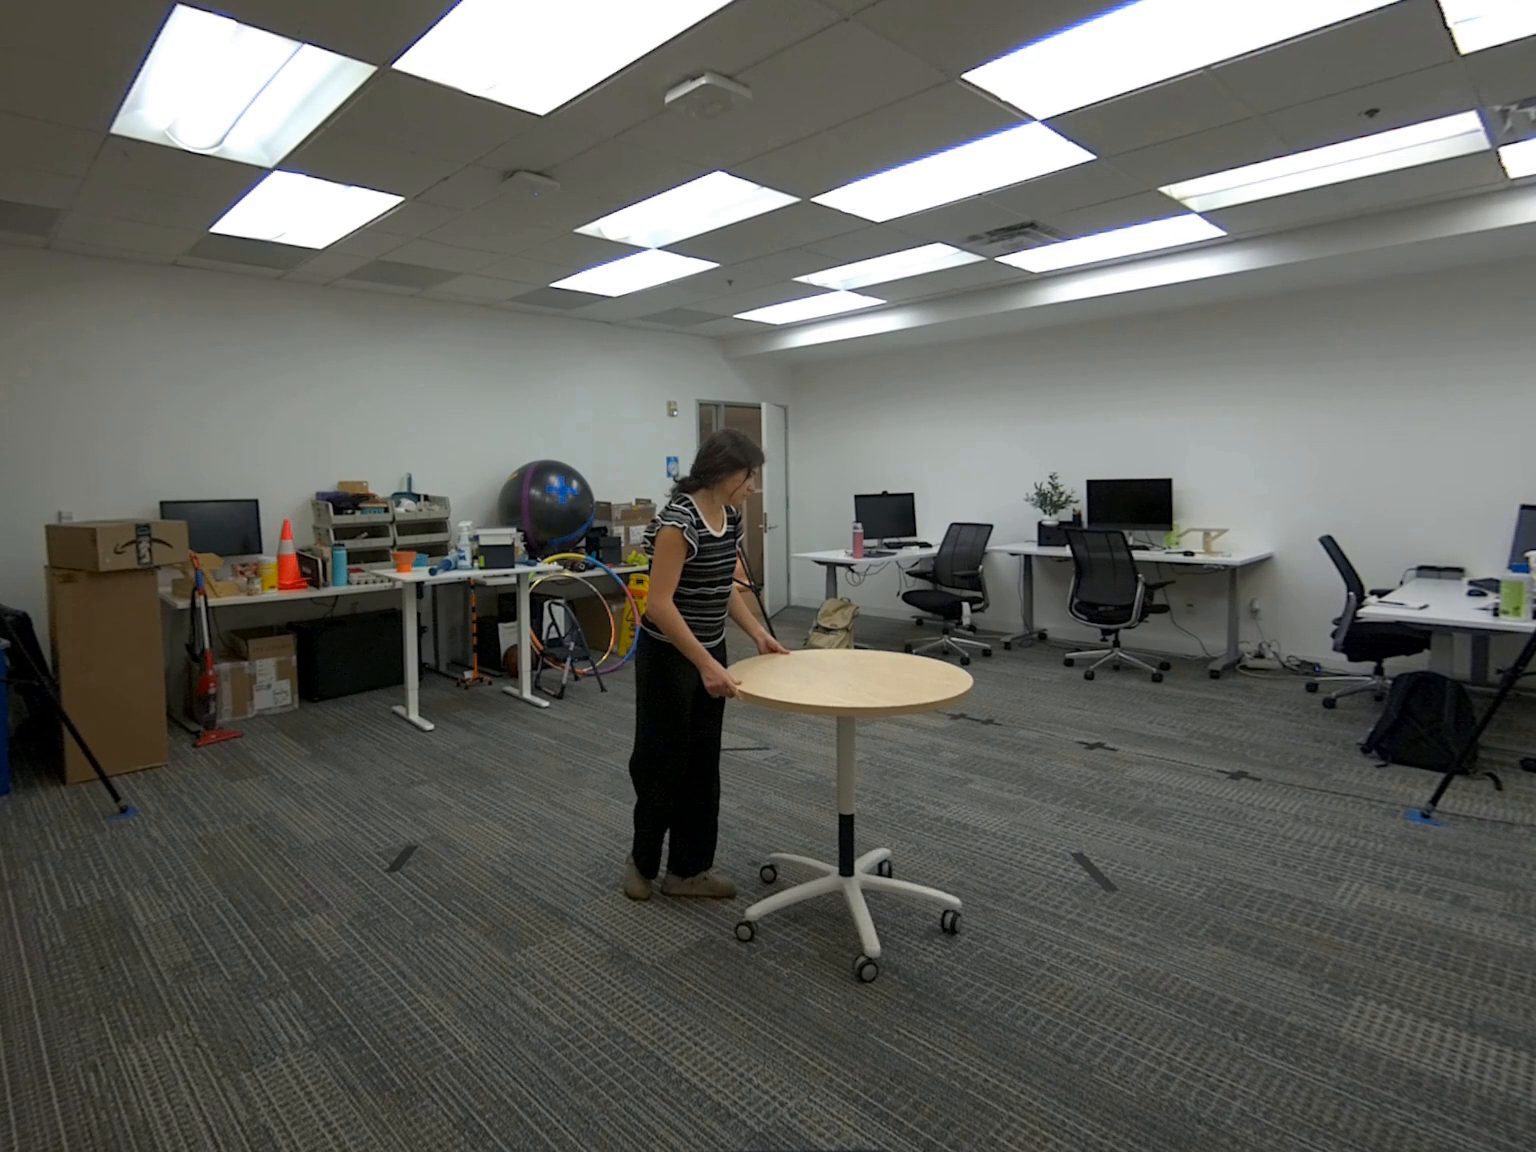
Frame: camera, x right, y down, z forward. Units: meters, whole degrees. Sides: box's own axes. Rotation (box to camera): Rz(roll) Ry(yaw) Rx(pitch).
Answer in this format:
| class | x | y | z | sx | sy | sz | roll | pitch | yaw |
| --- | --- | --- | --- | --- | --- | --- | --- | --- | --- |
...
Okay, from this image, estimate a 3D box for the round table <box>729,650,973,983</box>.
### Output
| class | x | y | z | sx | sy | sz | roll | pitch | yaw |
| --- | --- | --- | --- | --- | --- | --- | --- | --- | --- |
| round table | 0.258 | 0.688 | 2.706 | 0.784 | 0.783 | 0.789 | -1 | 5 | -2 |
